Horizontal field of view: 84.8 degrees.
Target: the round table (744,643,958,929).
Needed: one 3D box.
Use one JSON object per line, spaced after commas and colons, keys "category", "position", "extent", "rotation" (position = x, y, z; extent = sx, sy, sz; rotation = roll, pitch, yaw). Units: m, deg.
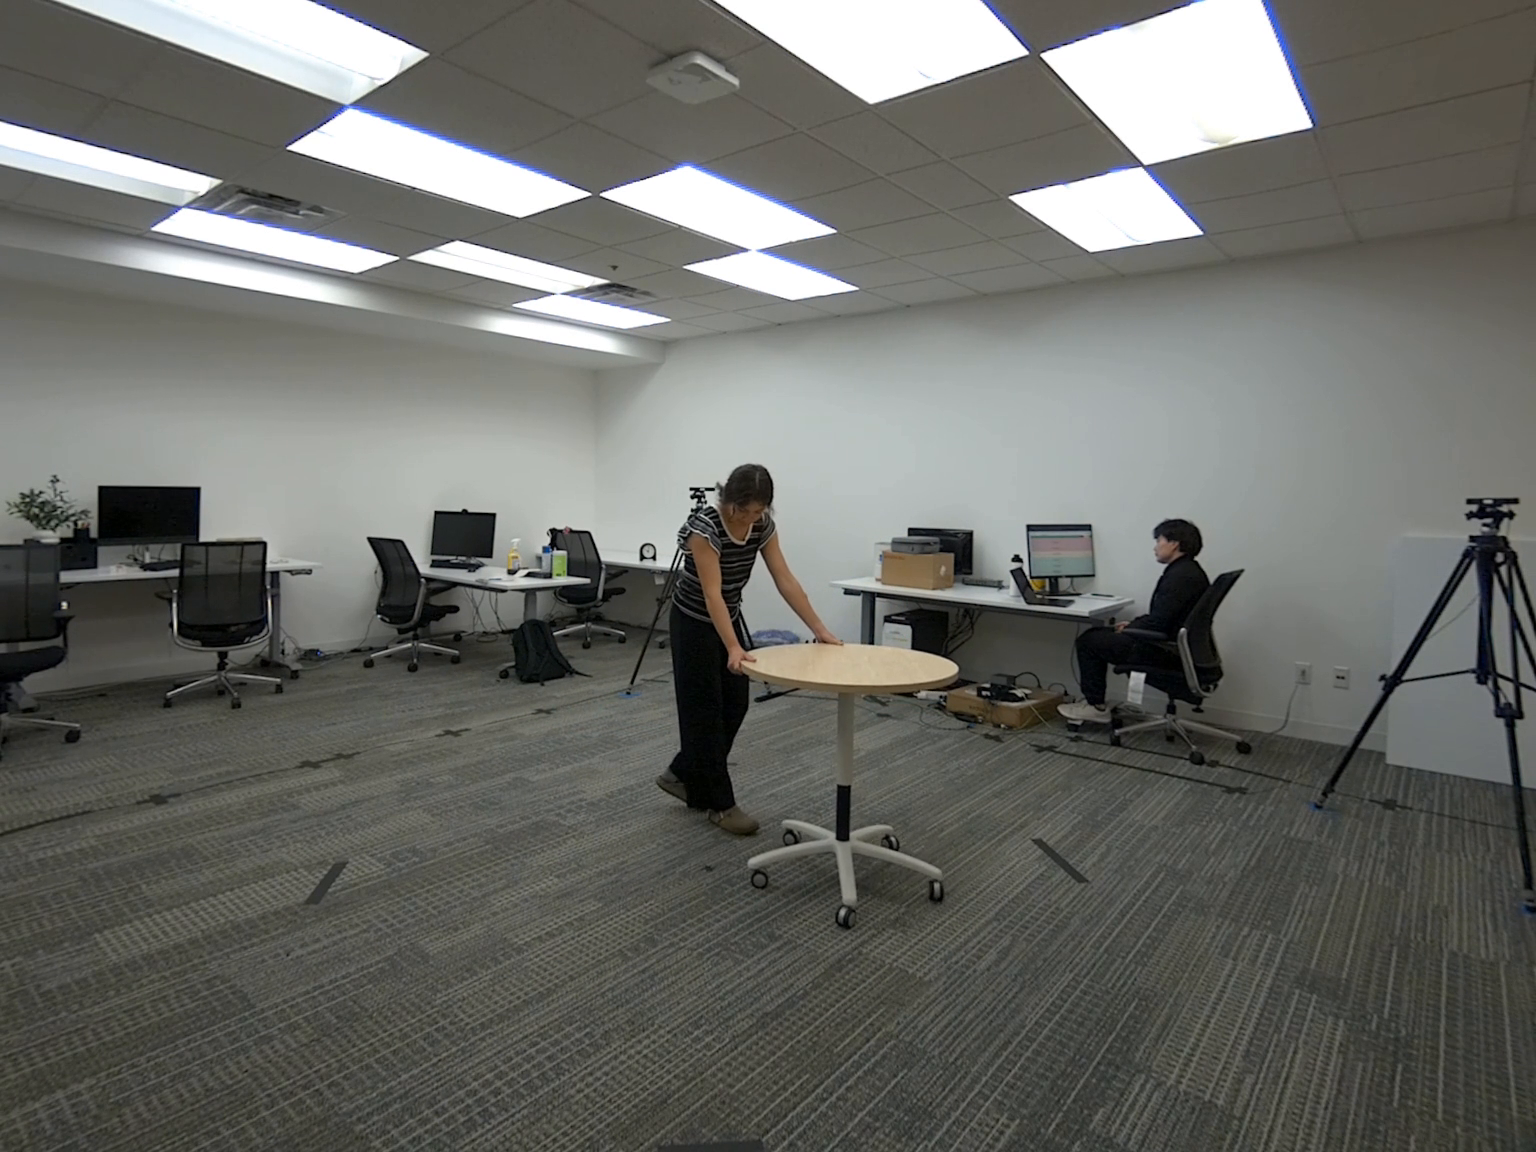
{"category": "round table", "position": [0.266, 0.695, 3.040], "extent": [0.763, 0.792, 0.767], "rotation": [1, 4, -2]}
